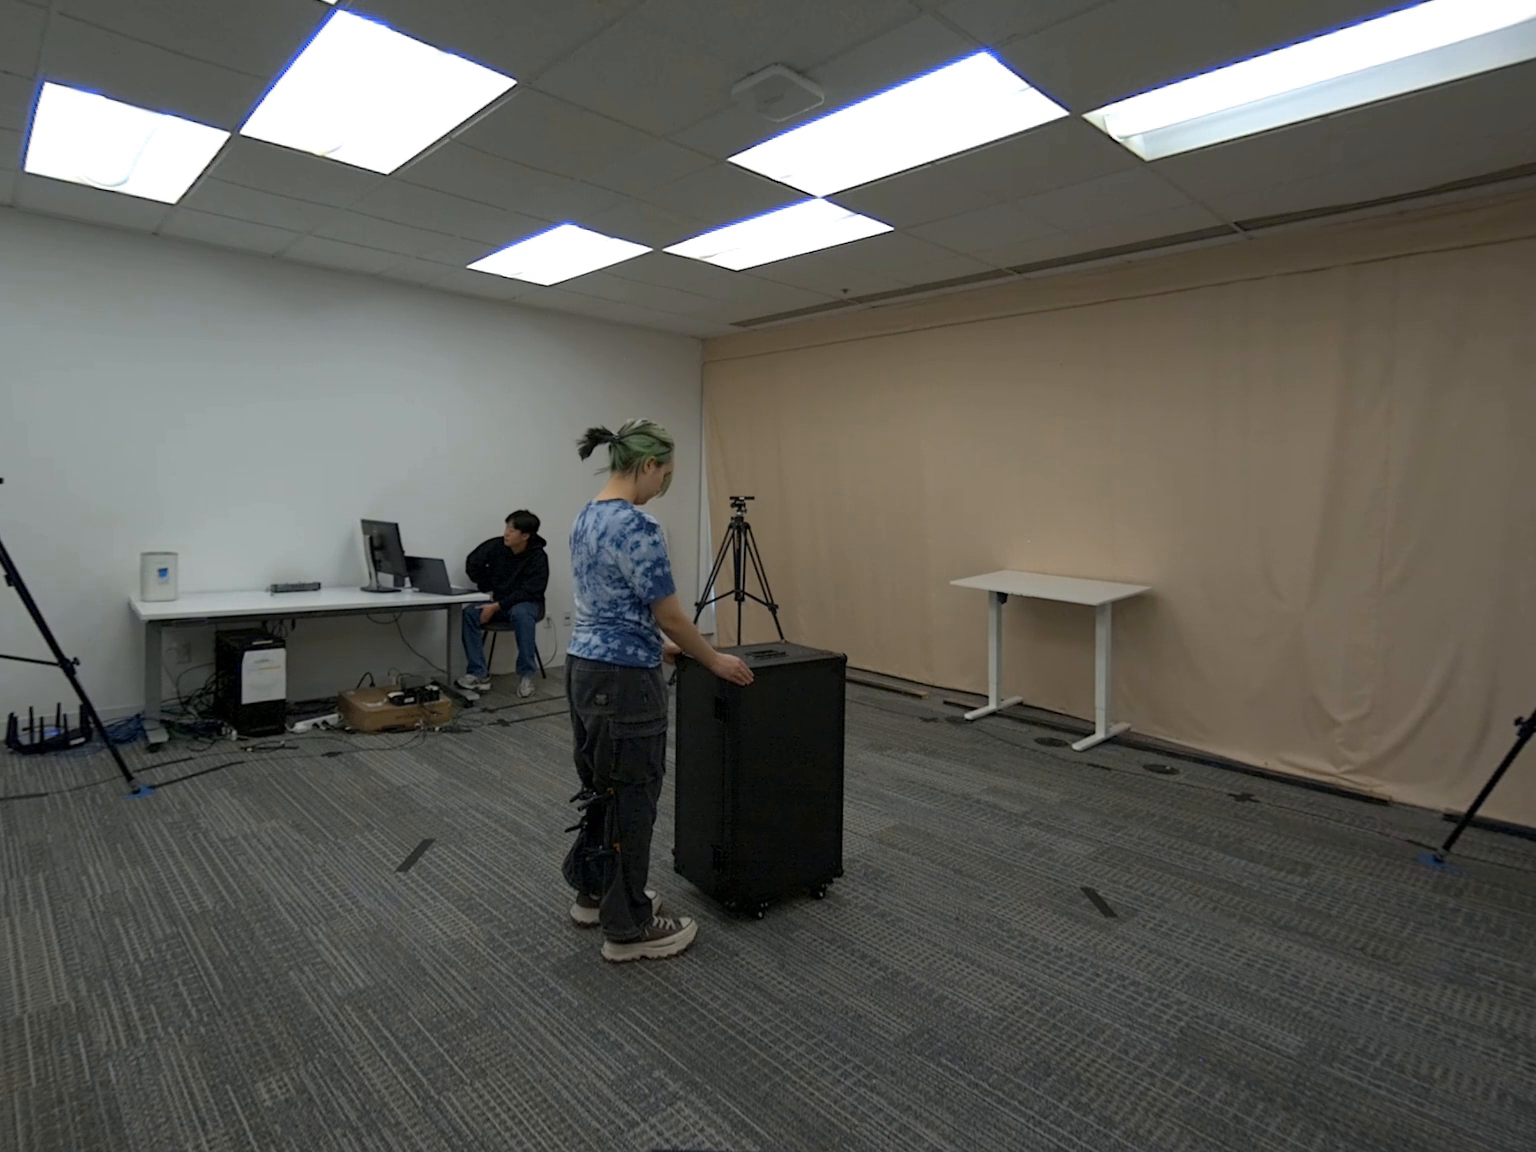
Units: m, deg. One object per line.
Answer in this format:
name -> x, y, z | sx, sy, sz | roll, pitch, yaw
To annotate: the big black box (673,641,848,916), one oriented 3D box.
big black box -> -0.042, 0.696, 2.949 | 0.510, 0.860, 0.406 | -2, 3, -35
